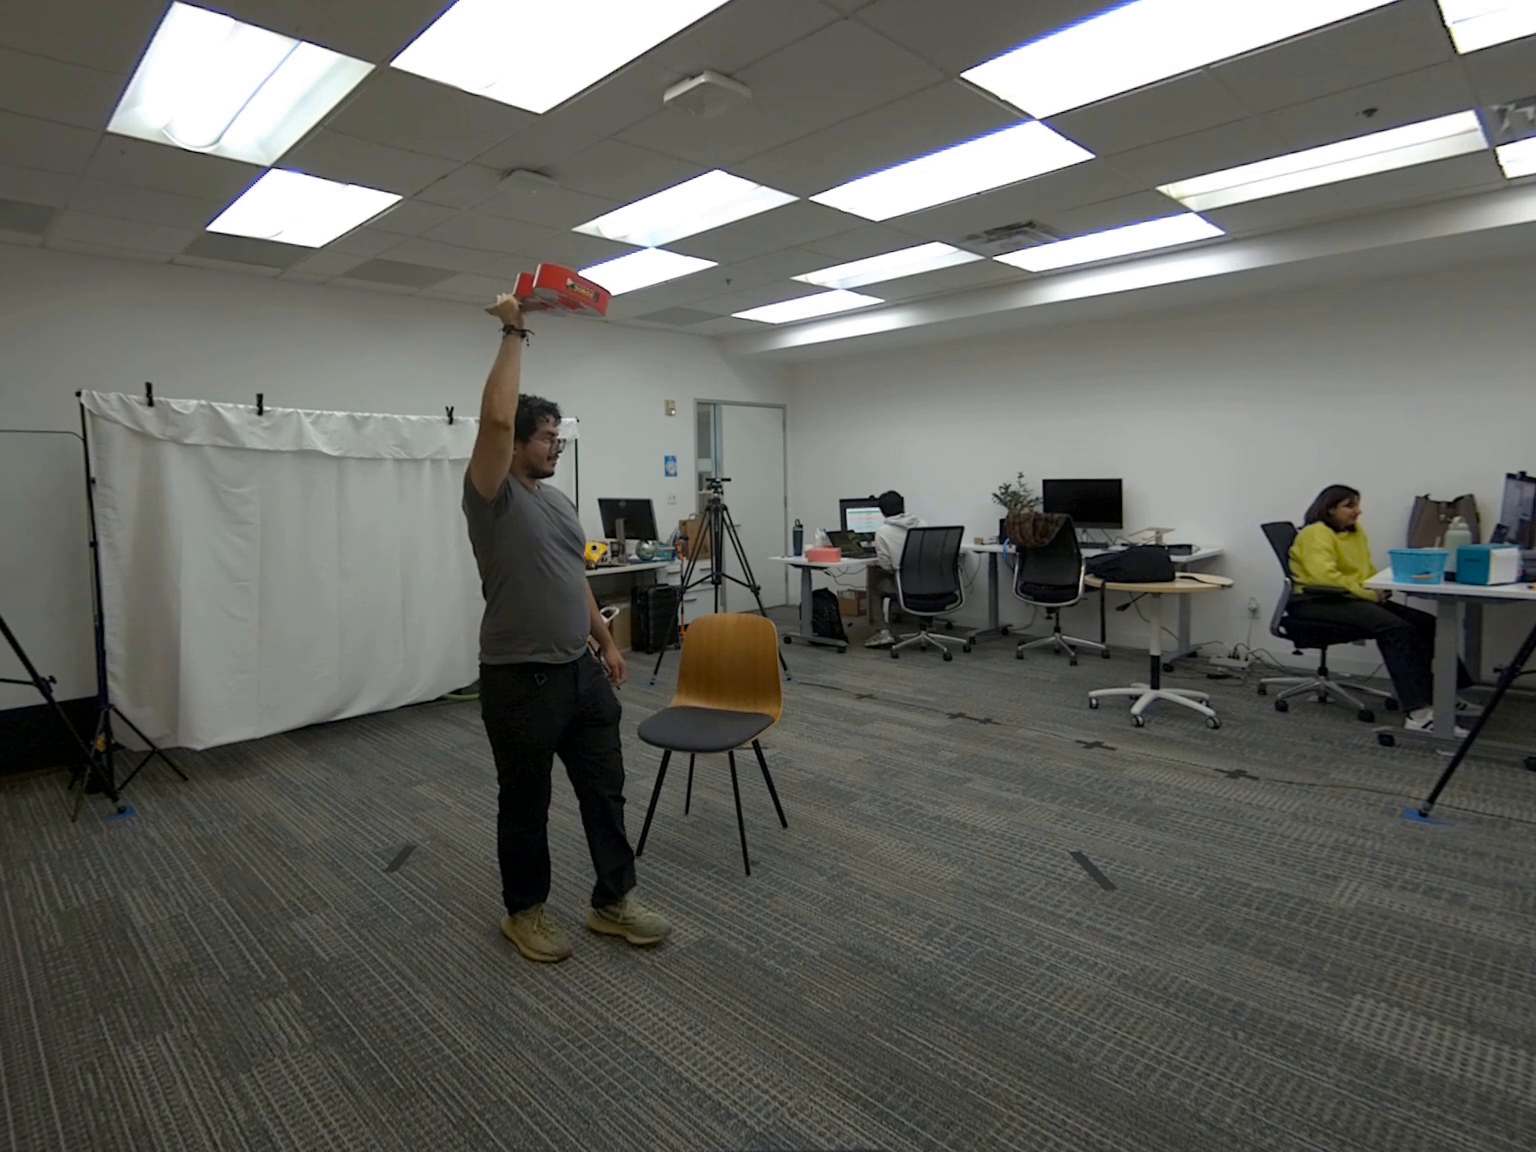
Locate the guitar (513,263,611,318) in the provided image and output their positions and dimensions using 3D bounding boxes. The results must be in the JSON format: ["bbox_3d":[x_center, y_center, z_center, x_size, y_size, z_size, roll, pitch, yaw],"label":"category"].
[{"bbox_3d":[-0.623,-0.737,2.217,0.515,0.071,0.186,16,0,39],"label":"guitar"}]
